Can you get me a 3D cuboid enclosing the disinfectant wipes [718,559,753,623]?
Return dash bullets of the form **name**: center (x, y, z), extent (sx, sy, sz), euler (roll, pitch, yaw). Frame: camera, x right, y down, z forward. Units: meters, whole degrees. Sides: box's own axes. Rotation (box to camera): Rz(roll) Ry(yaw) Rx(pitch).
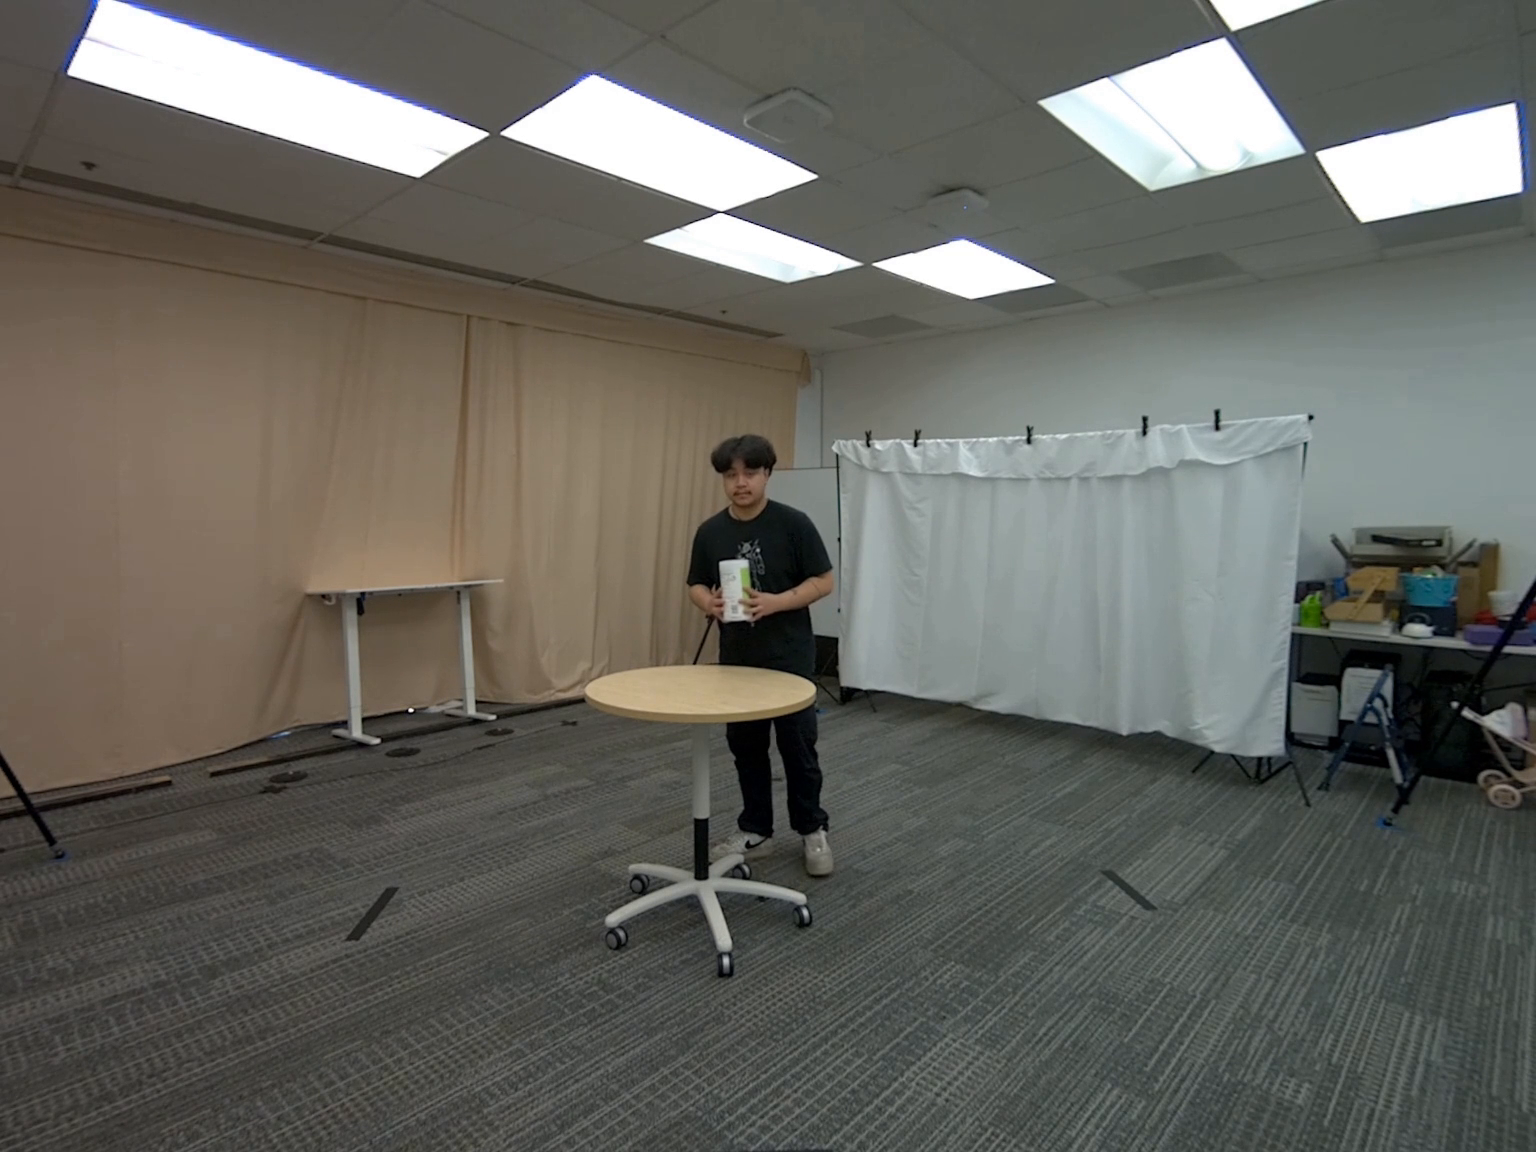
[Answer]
- **disinfectant wipes**: center (-0.113, 0.051, 3.058), extent (0.118, 0.217, 0.118), euler (-4, 4, -2)
